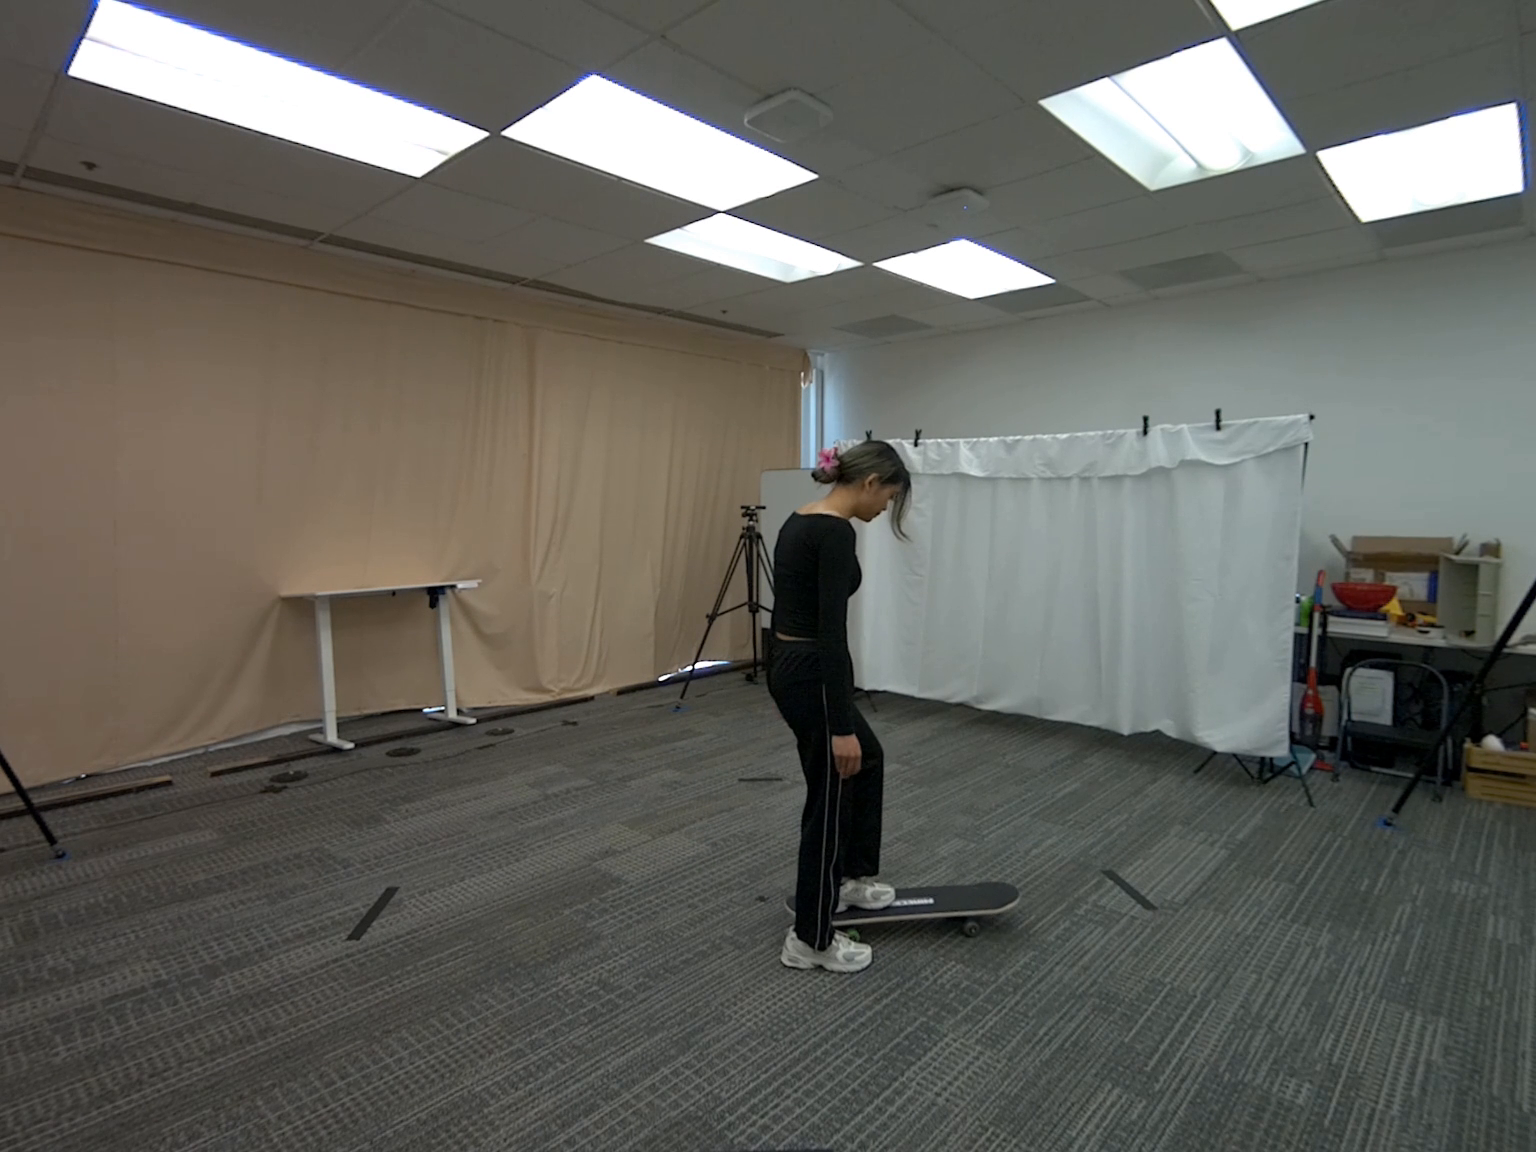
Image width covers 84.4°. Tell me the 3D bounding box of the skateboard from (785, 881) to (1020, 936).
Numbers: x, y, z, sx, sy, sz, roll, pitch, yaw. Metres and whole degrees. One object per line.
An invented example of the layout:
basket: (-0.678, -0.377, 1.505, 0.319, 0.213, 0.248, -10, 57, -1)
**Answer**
skateboard: (0.448, 1.104, 2.767, 0.780, 0.110, 0.195, -1, 4, -6)
